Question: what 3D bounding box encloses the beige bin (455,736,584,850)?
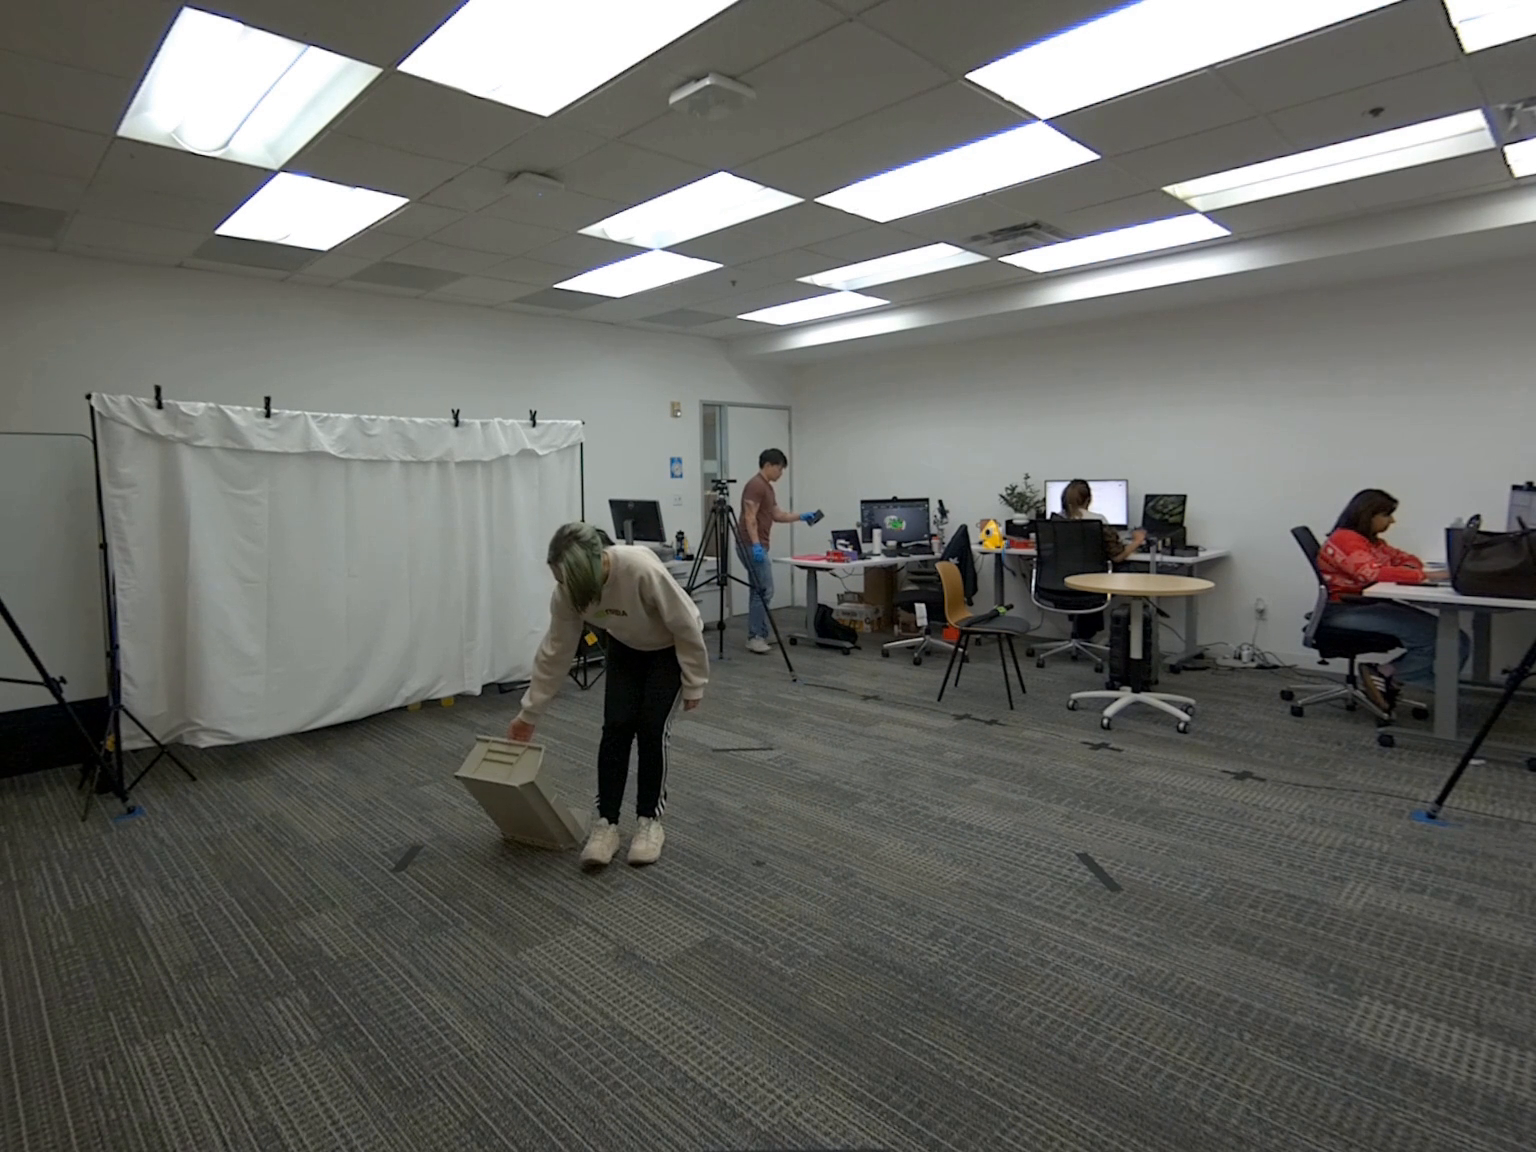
[{"bbox_3d":[-0.917,0.825,3.251,0.387,0.408,0.191,1,42,28],"label":"beige bin"}]
